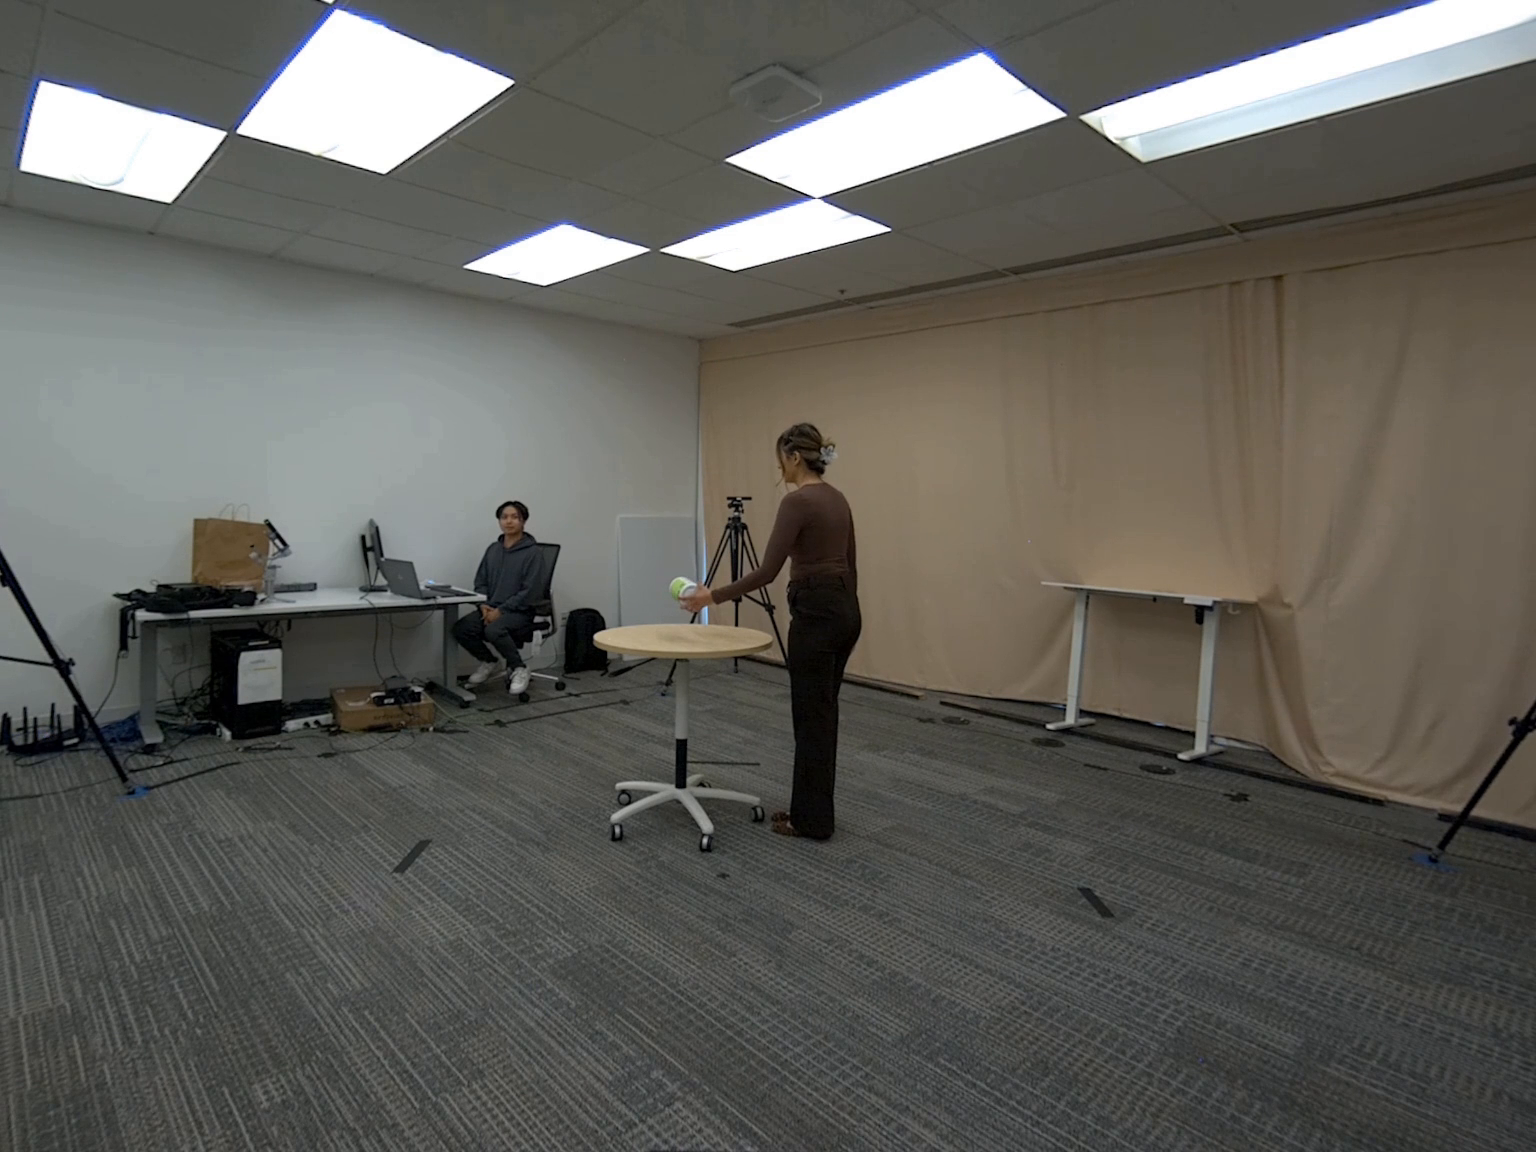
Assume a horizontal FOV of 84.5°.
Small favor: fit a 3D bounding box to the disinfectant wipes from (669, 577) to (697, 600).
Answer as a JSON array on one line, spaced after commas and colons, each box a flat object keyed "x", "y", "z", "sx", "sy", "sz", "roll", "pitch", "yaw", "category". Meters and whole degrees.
[{"x": -0.349, "y": 0.072, "z": 3.588, "sx": 0.116, "sy": 0.117, "sz": 0.221, "roll": 0, "pitch": 8, "yaw": -19, "category": "disinfectant wipes"}]
